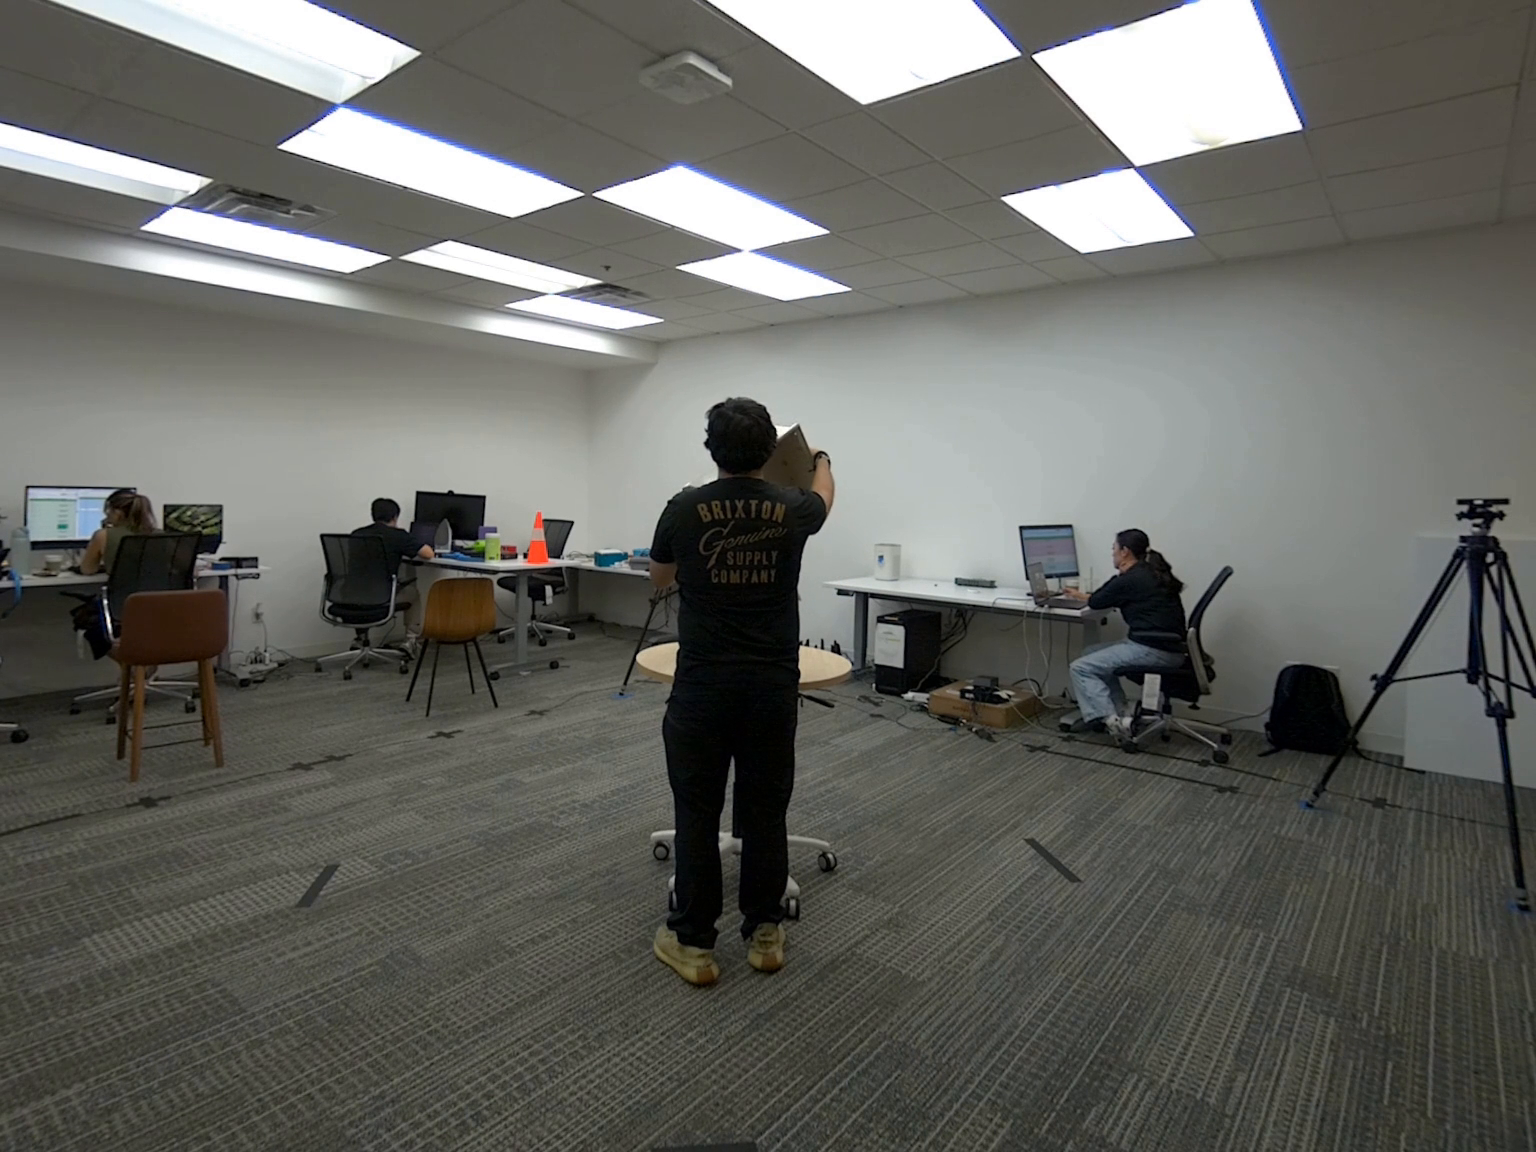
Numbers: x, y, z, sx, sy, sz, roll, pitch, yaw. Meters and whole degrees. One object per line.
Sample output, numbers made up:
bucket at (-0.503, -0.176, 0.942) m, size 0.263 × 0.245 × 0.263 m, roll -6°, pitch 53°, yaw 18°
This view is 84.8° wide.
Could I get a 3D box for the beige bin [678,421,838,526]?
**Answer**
beige bin at (-0.031, -0.271, 2.975) m, size 0.420 × 0.365 × 0.196 m, roll -39°, pitch 30°, yaw -20°
